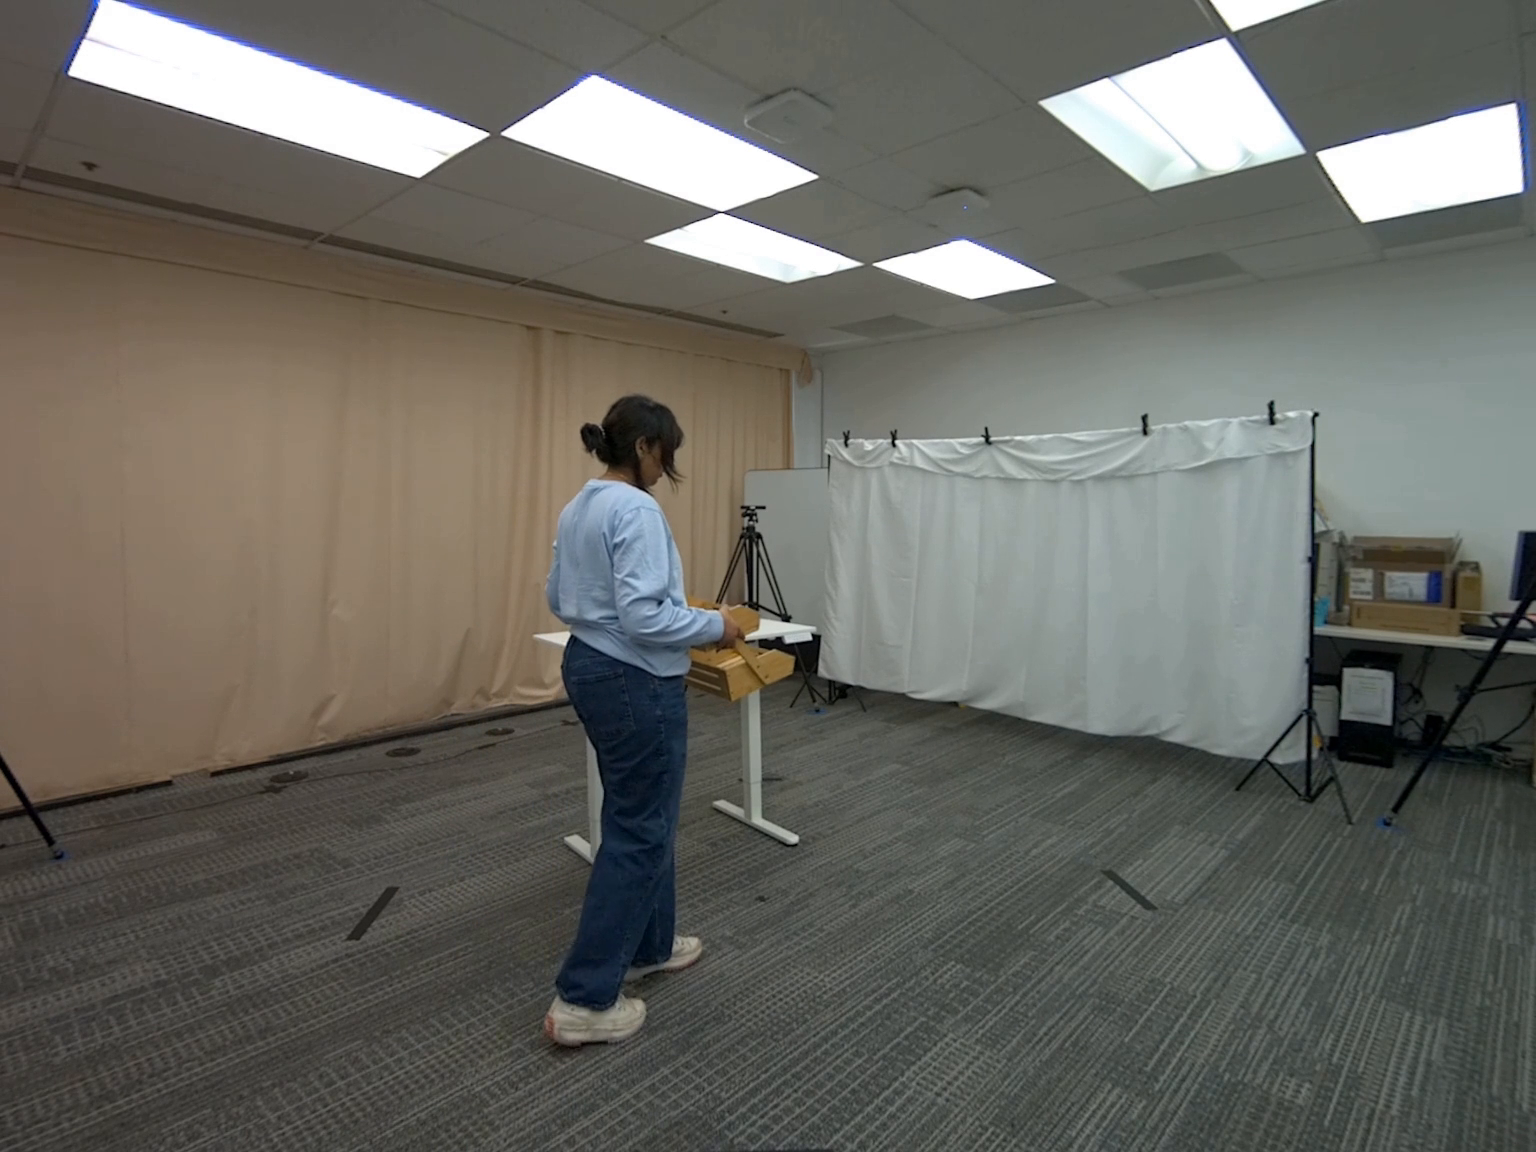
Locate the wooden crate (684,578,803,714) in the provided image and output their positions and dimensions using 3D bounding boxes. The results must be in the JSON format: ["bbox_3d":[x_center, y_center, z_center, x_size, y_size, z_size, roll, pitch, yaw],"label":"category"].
[{"bbox_3d":[-0.141,0.192,2.536,0.295,0.270,0.335,-21,15,-34],"label":"wooden crate"}]
